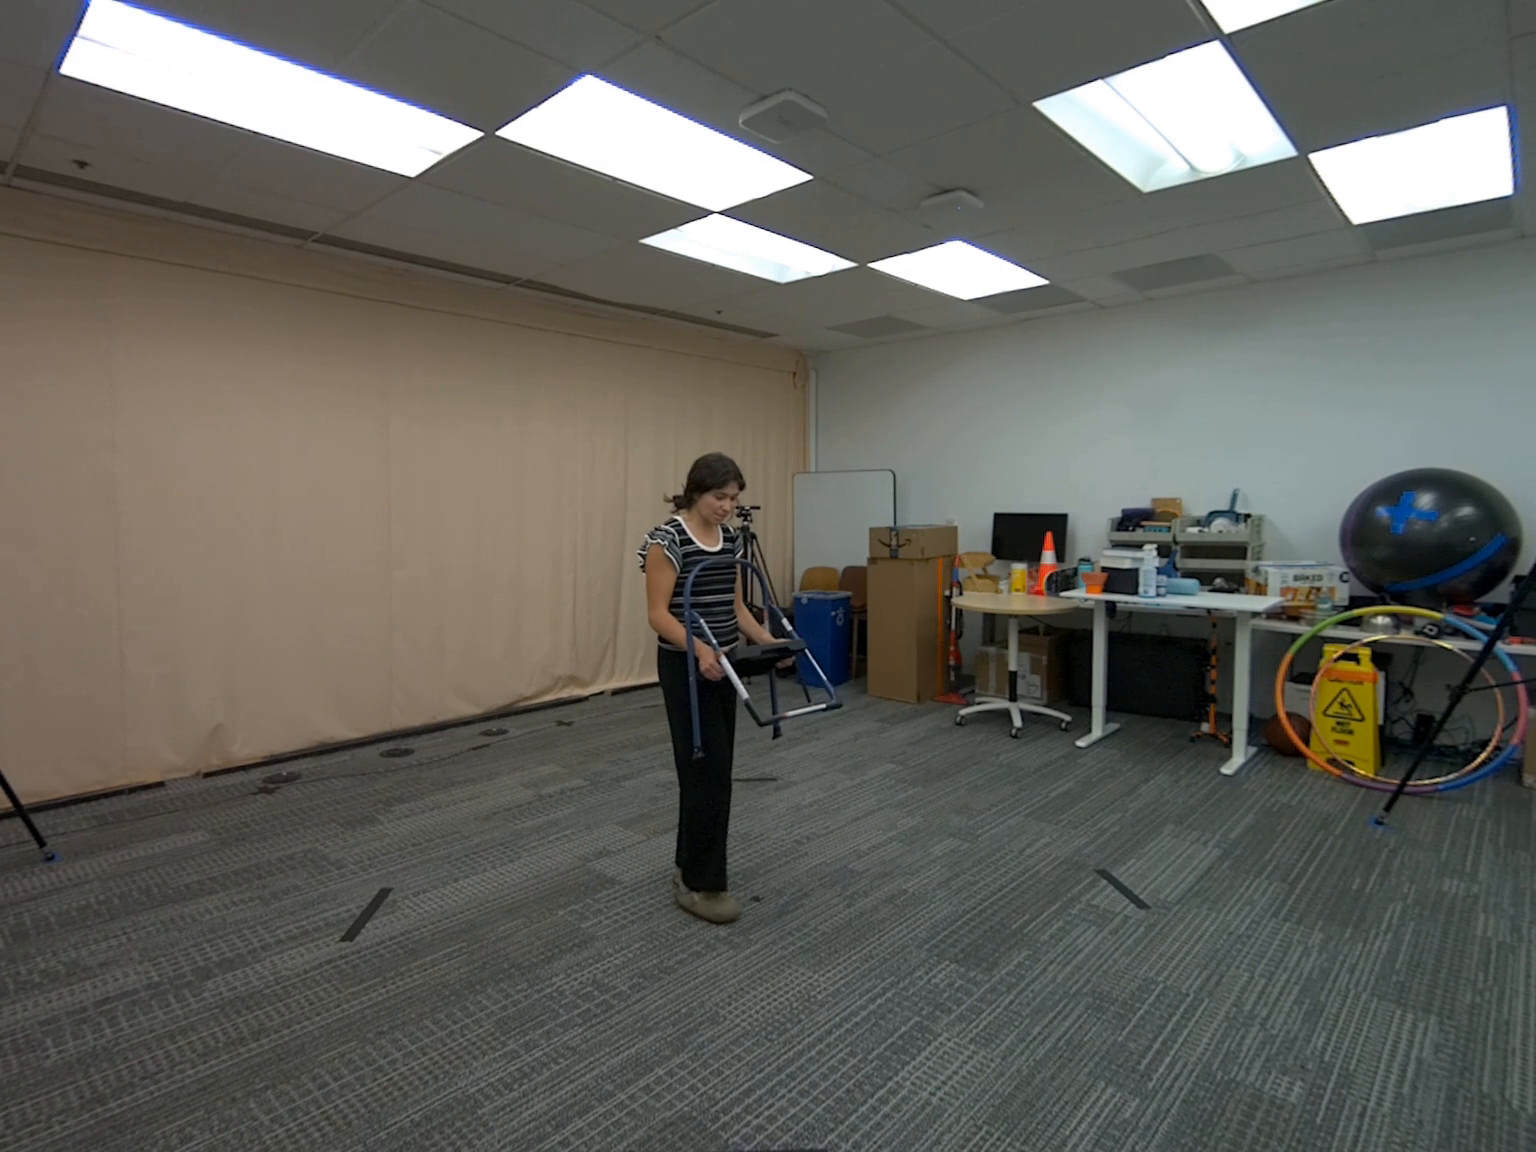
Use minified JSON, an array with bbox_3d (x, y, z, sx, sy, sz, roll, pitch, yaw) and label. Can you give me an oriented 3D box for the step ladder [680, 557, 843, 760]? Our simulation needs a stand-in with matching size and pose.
[{"bbox_3d":[-0.085,0.247,2.875,0.417,0.617,0.354,-1,-27,-47],"label":"step ladder"}]
